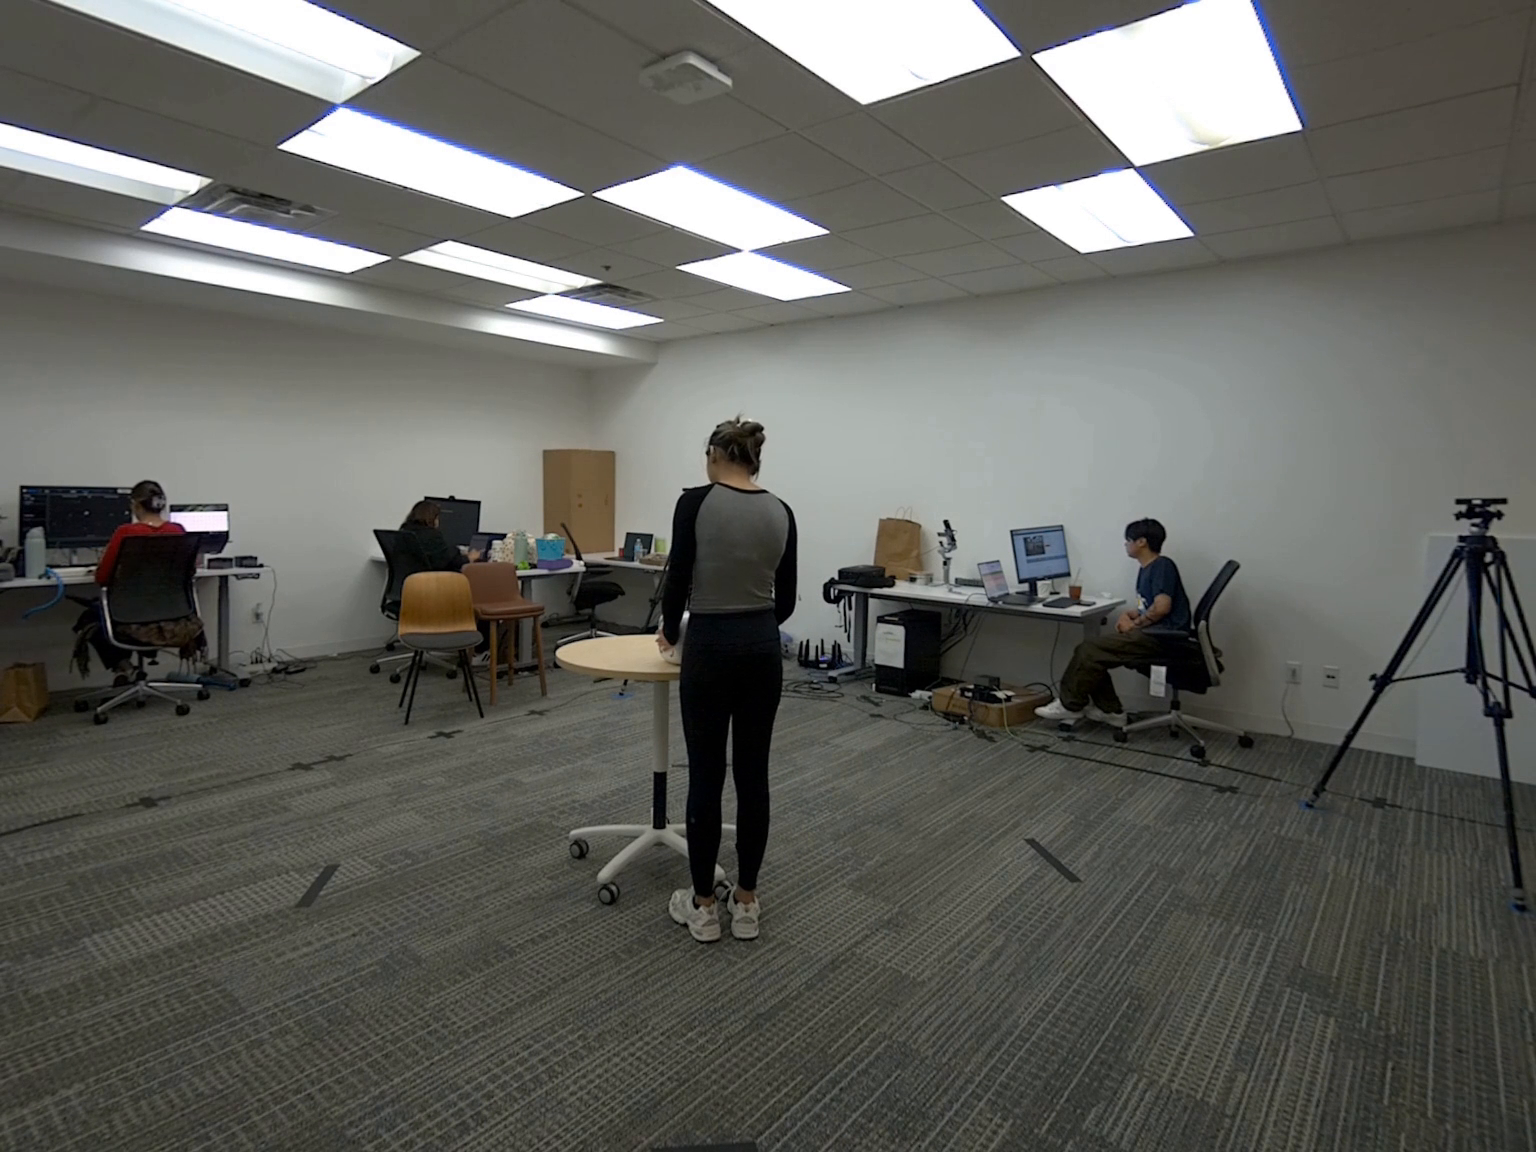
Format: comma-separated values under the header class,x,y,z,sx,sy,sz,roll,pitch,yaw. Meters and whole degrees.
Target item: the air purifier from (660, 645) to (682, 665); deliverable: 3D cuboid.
class,x,y,z,sx,sy,sz,roll,pitch,yaw
air purifier,-0.244,0.203,2.936,0.258,0.171,0.176,-2,6,-30
